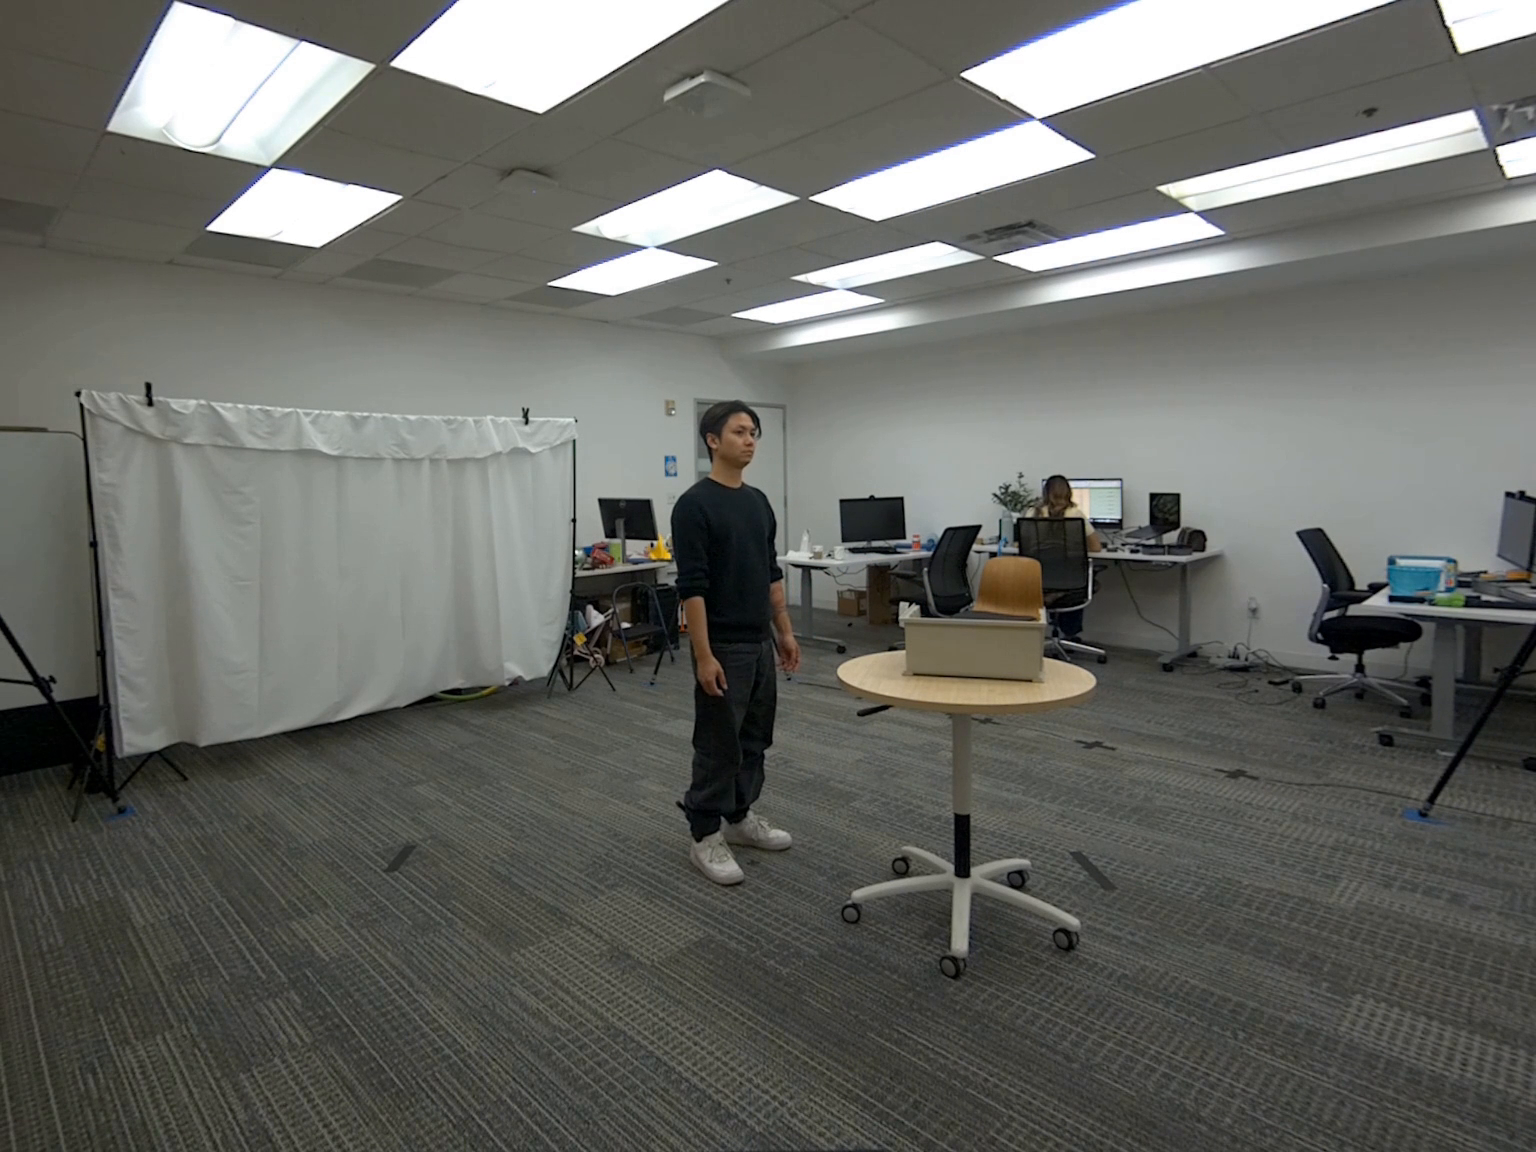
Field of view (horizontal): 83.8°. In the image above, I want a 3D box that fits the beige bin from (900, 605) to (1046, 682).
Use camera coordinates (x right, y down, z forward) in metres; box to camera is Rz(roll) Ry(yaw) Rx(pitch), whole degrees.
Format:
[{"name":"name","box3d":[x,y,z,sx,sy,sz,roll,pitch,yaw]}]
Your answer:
[{"name":"beige bin","box3d":[0.662,0.202,2.712,0.430,0.188,0.372,1,7,19]}]
